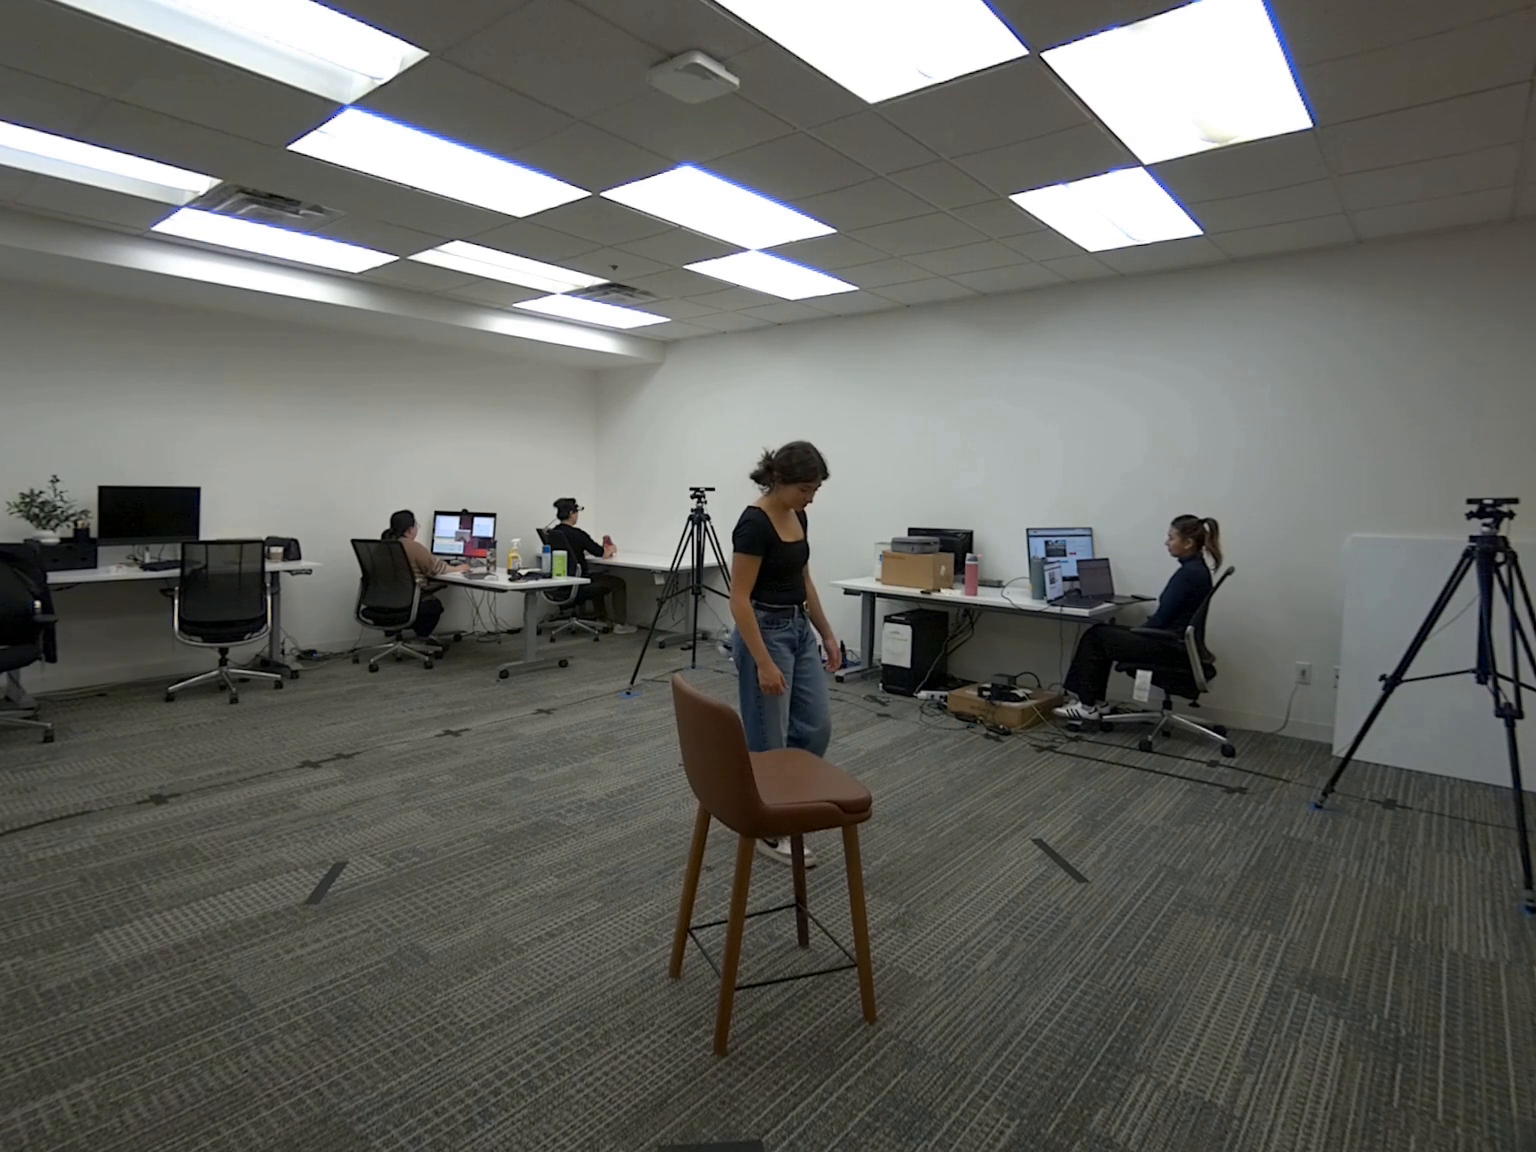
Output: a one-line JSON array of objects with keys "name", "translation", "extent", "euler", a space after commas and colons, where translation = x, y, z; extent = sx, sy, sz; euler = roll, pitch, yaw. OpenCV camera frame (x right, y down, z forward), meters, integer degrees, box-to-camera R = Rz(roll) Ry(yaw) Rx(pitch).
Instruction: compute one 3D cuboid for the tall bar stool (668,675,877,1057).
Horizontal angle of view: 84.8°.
[{"name": "tall bar stool", "translation": [-0.006, 0.712, 2.312], "extent": [0.457, 0.886, 0.468], "euler": [-2, 4, -24]}]
